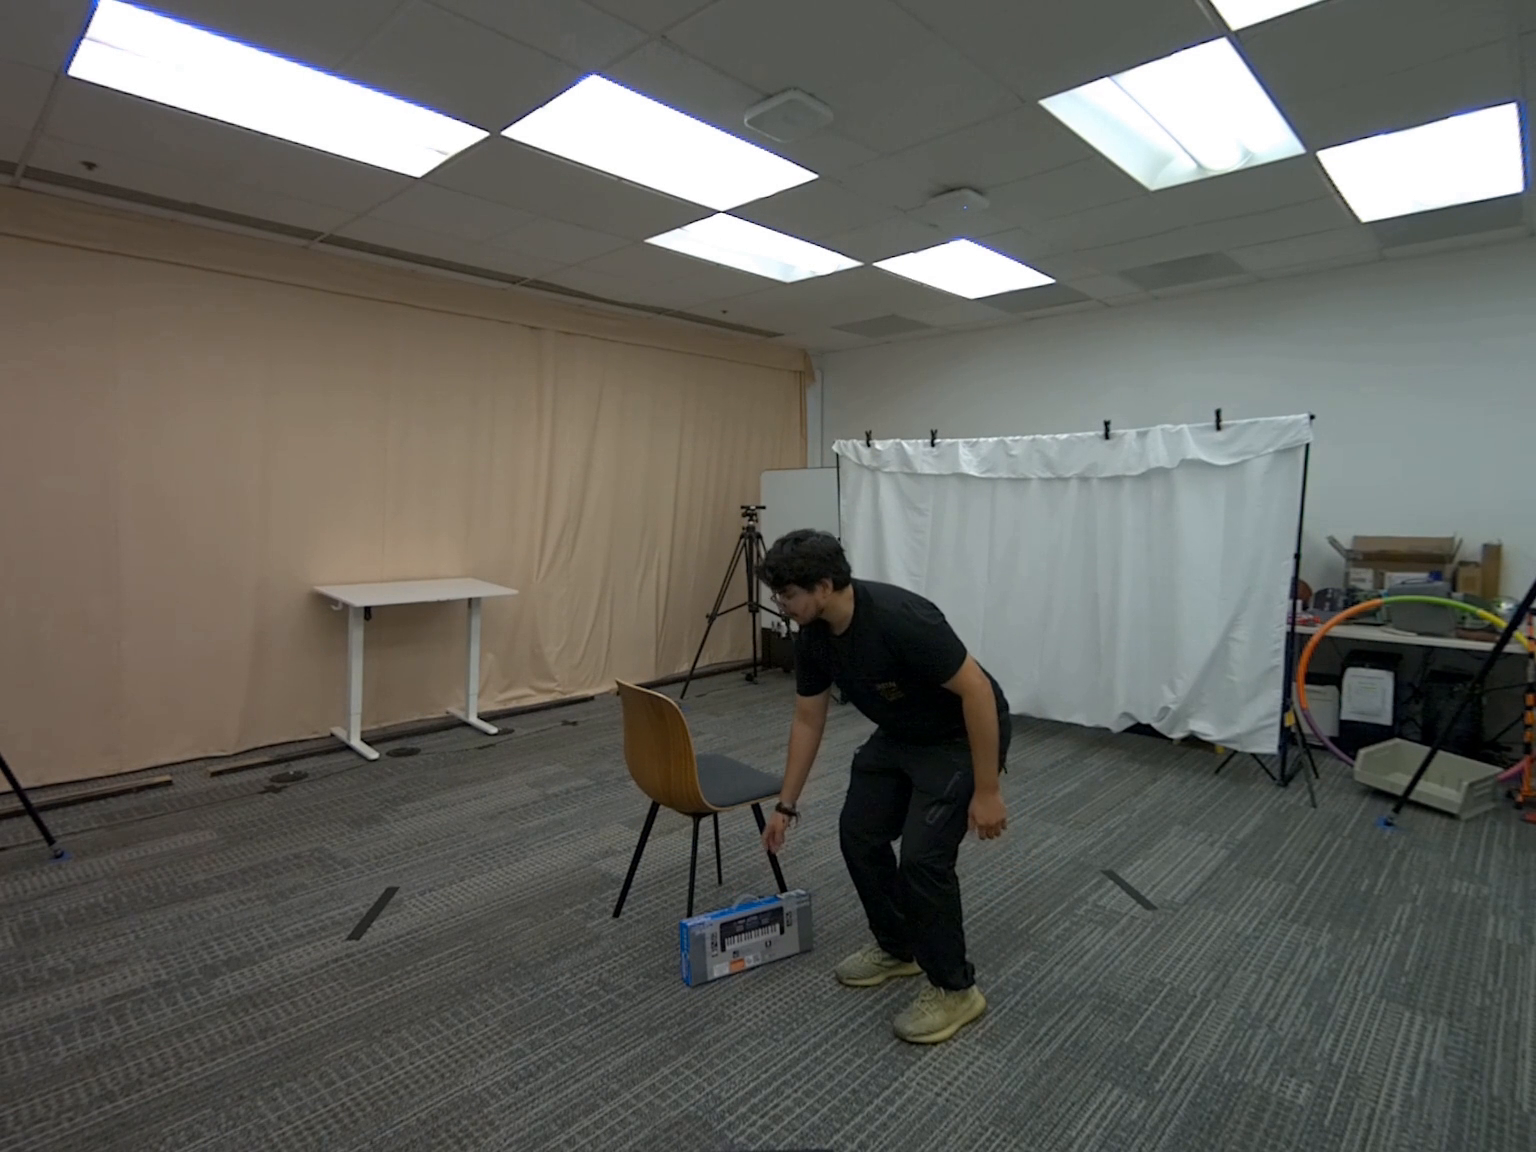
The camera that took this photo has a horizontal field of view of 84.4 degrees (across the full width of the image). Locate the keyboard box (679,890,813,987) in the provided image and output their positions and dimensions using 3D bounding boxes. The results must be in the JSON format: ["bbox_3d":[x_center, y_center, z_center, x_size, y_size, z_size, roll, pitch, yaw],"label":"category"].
[{"bbox_3d":[-0.054,1.098,2.554,0.425,0.176,0.060,-2,-2,-30],"label":"keyboard box"}]
